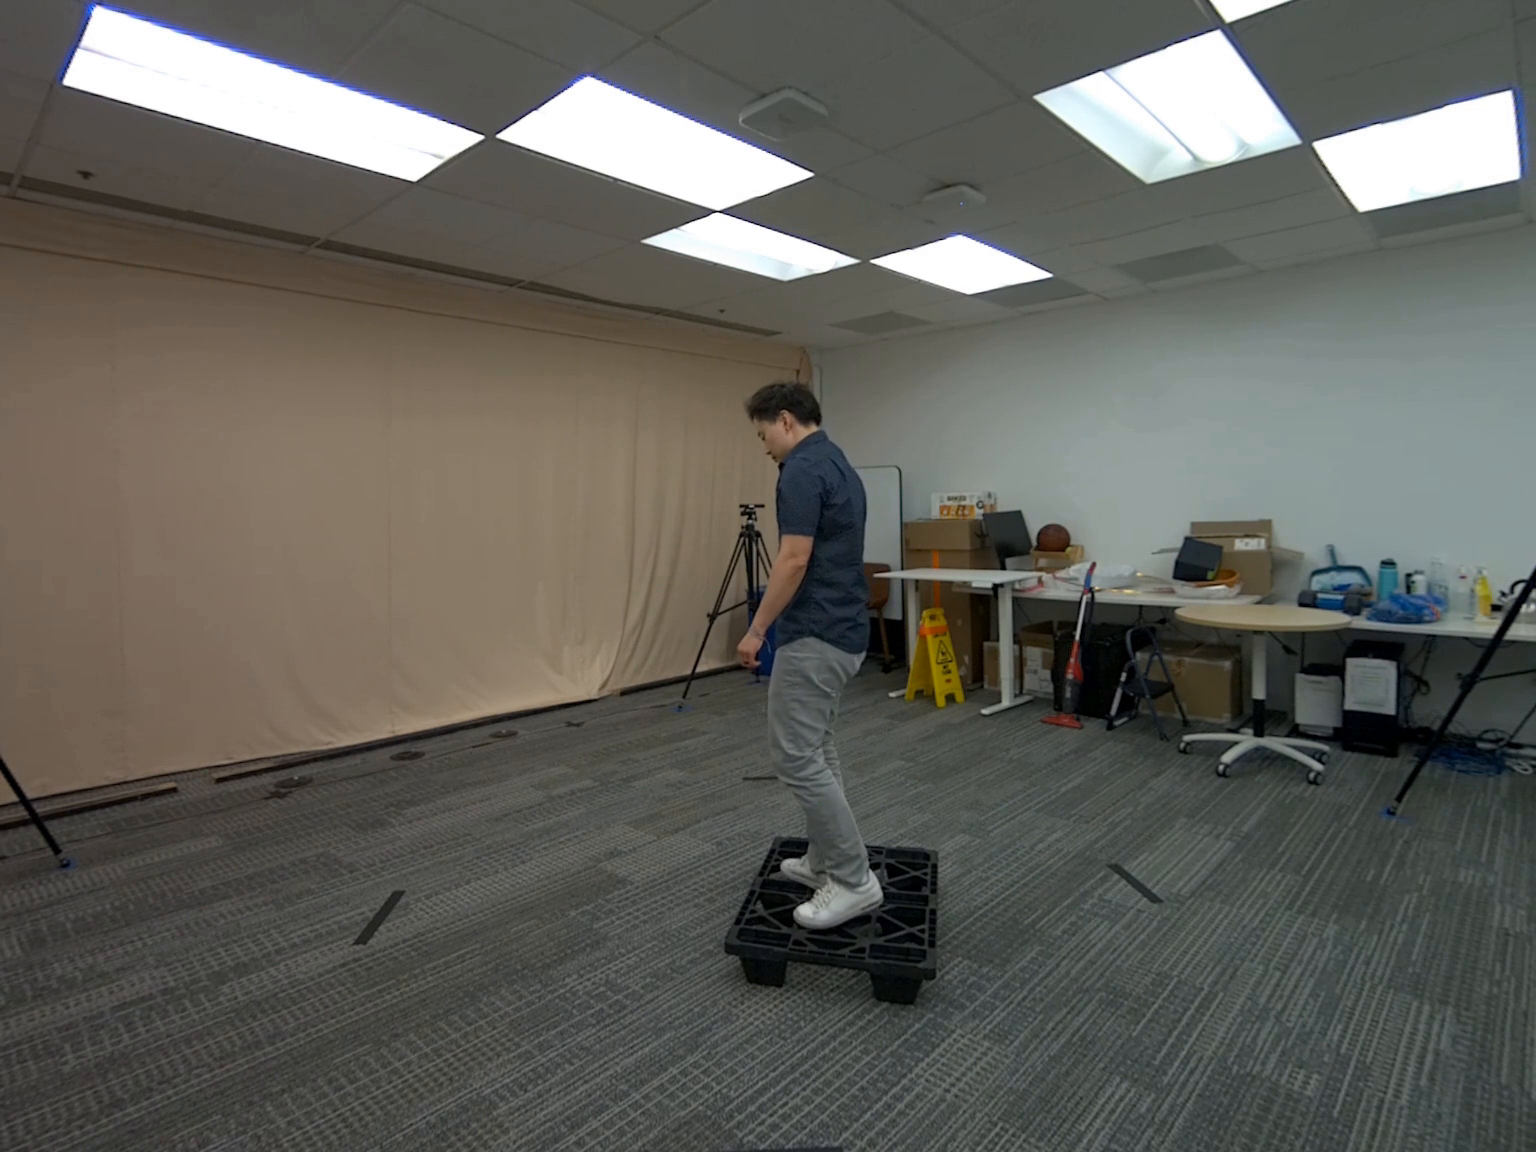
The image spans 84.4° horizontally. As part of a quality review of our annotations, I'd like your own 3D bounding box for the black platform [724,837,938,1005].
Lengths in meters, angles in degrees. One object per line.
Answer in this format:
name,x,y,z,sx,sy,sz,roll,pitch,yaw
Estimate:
black platform,0.250,1.088,2.739,0.614,0.143,0.795,1,5,13
